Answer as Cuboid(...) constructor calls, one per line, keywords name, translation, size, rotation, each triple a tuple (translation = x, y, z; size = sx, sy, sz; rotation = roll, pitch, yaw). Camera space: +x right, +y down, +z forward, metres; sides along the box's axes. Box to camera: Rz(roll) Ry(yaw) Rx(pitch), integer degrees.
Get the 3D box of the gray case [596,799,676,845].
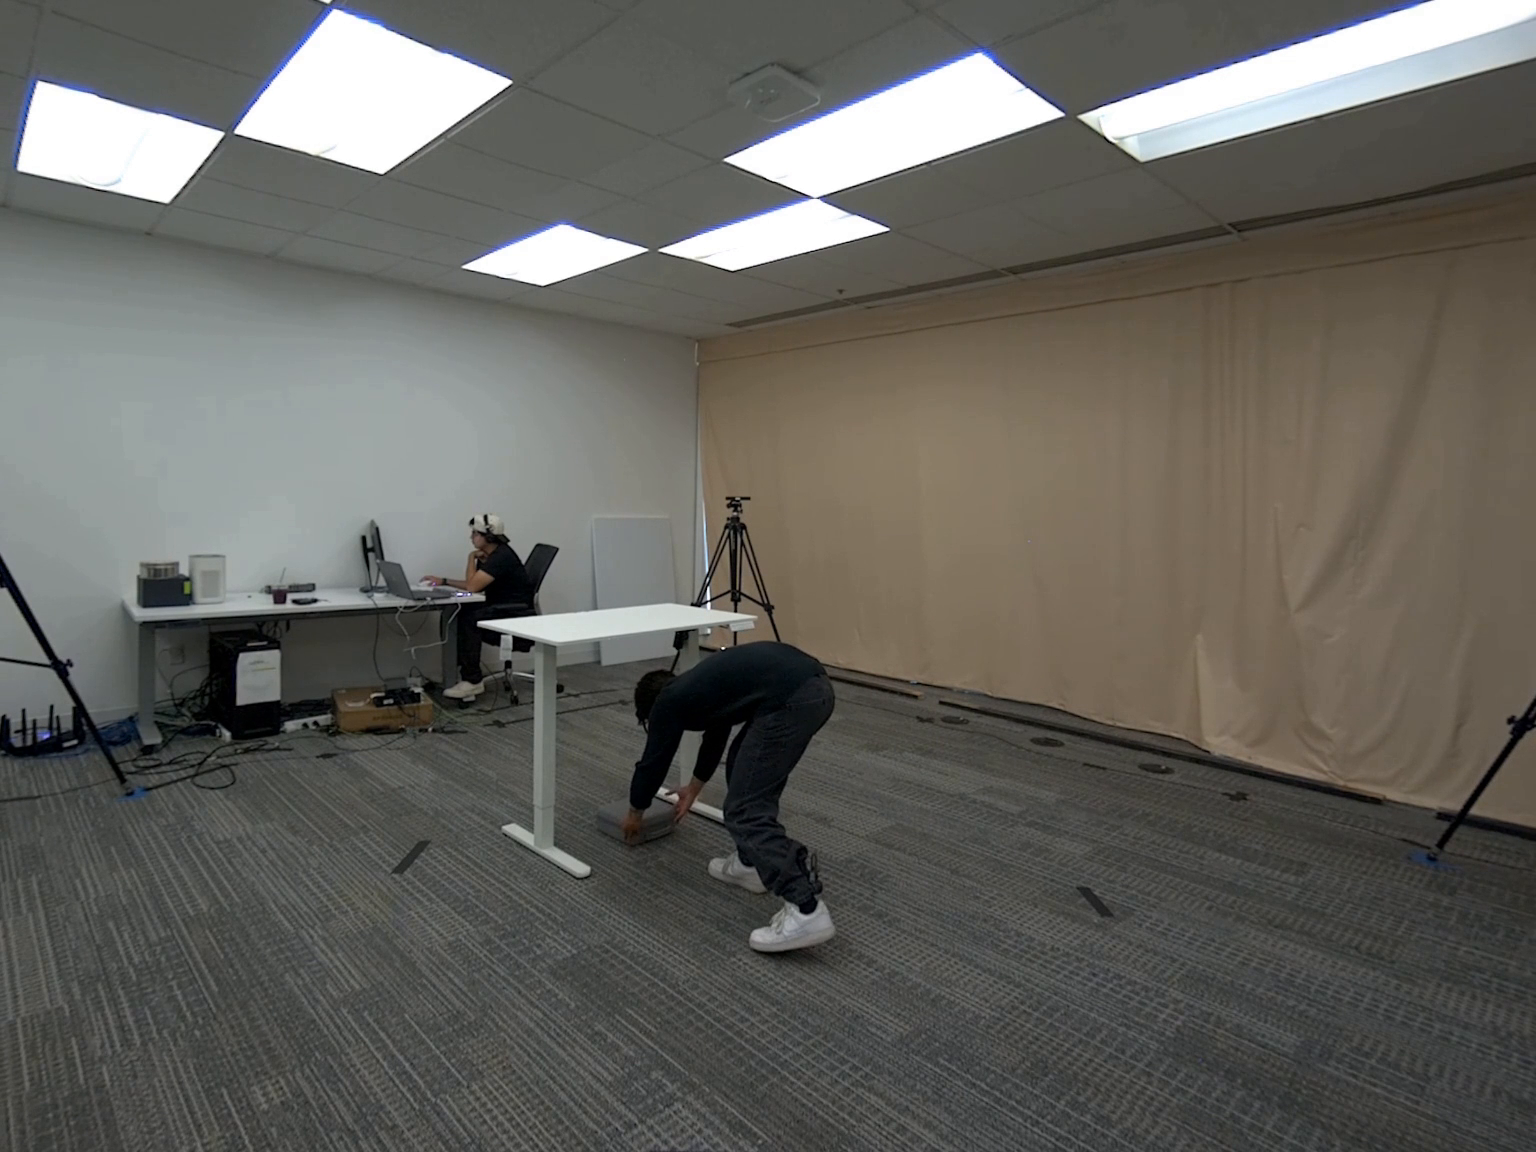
Cuboid(name="gray case", translation=(-0.555, 1.005, 3.501), size=(0.263, 0.104, 0.255), rotation=(7, 7, 43))
